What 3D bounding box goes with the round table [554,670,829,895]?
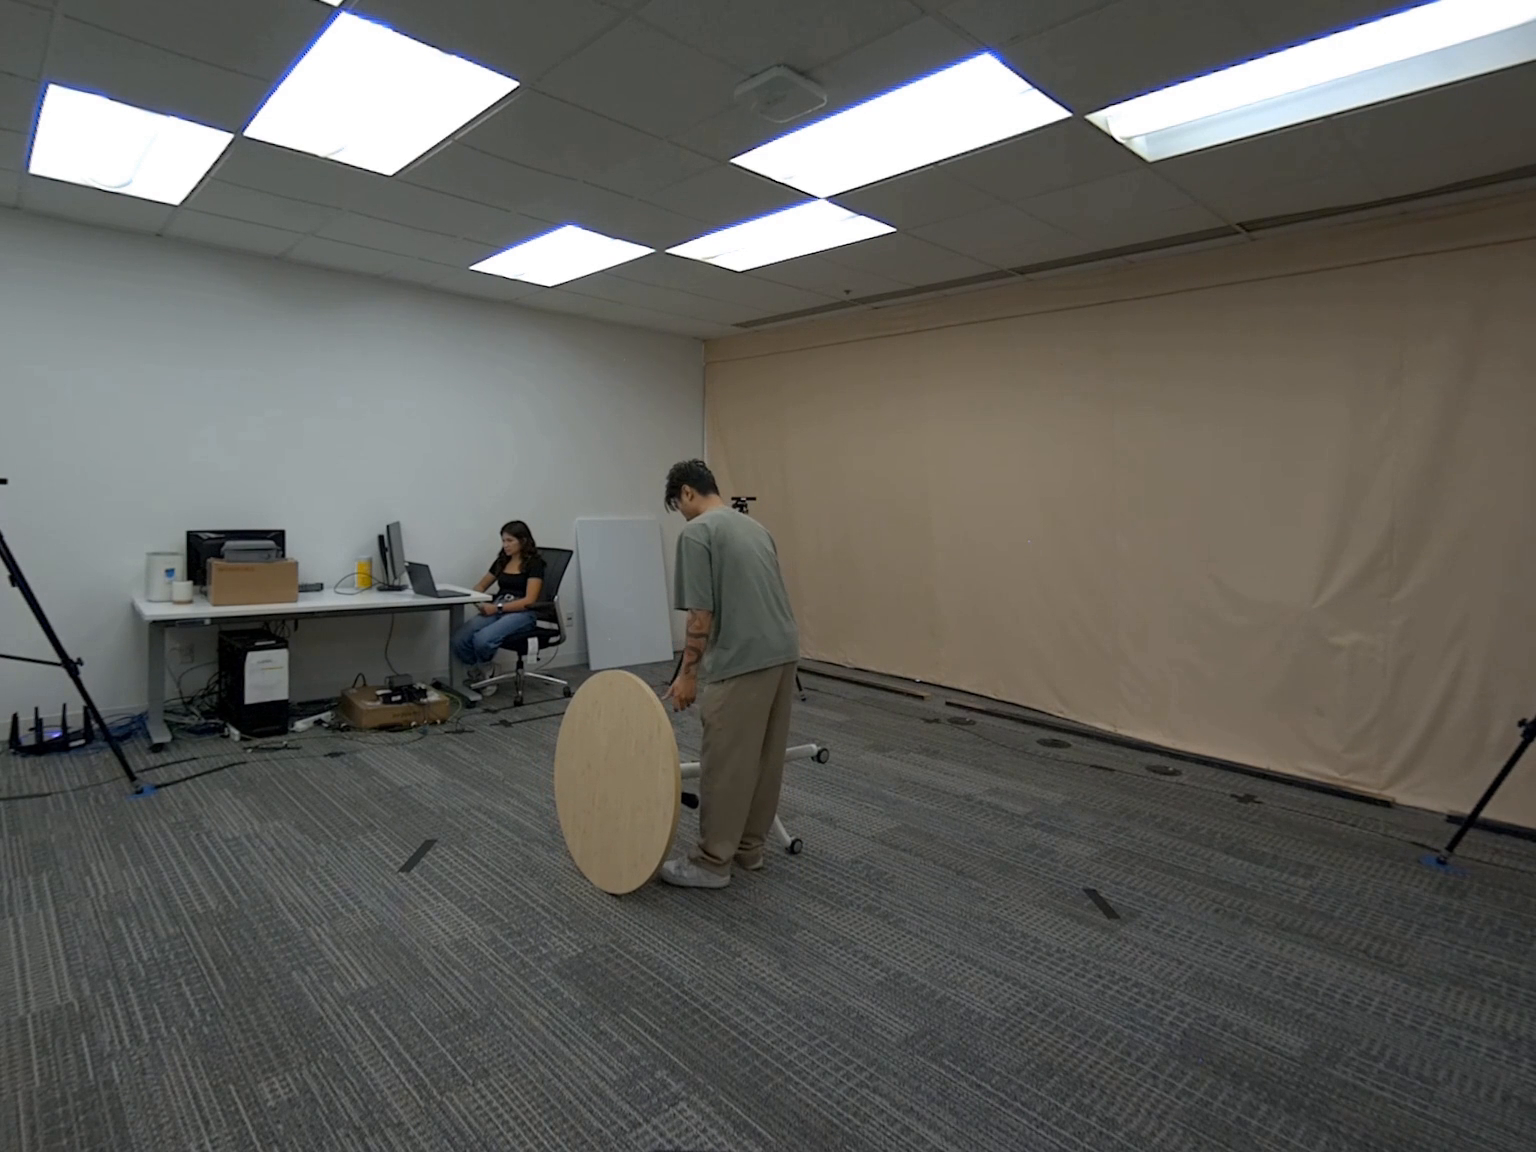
[{"bbox_3d":[-0.294,0.757,3.267,0.766,0.786,0.805,8,-1,-43],"label":"round table"}]
